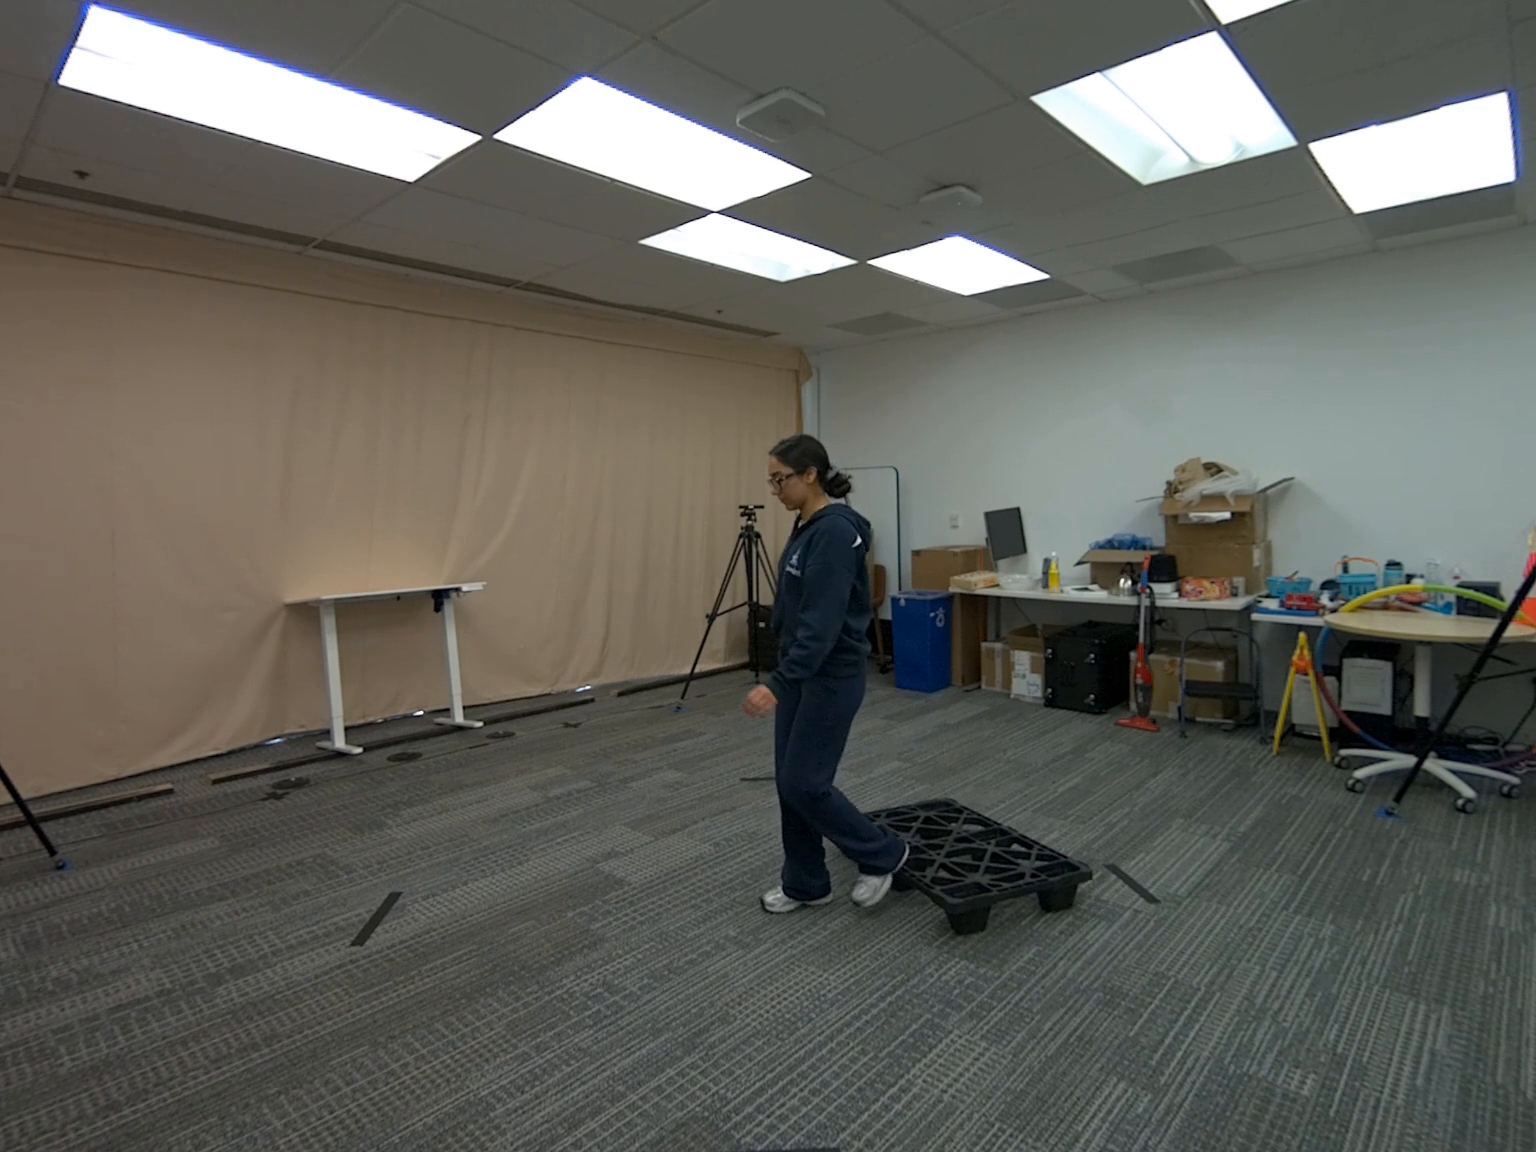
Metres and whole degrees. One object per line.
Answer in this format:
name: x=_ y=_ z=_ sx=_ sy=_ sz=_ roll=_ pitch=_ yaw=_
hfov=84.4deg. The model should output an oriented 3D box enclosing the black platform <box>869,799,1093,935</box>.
black platform: x=0.672 y=1.051 z=3.105 sx=0.592 sy=0.143 sz=0.826 roll=-4 pitch=5 yaw=-24
